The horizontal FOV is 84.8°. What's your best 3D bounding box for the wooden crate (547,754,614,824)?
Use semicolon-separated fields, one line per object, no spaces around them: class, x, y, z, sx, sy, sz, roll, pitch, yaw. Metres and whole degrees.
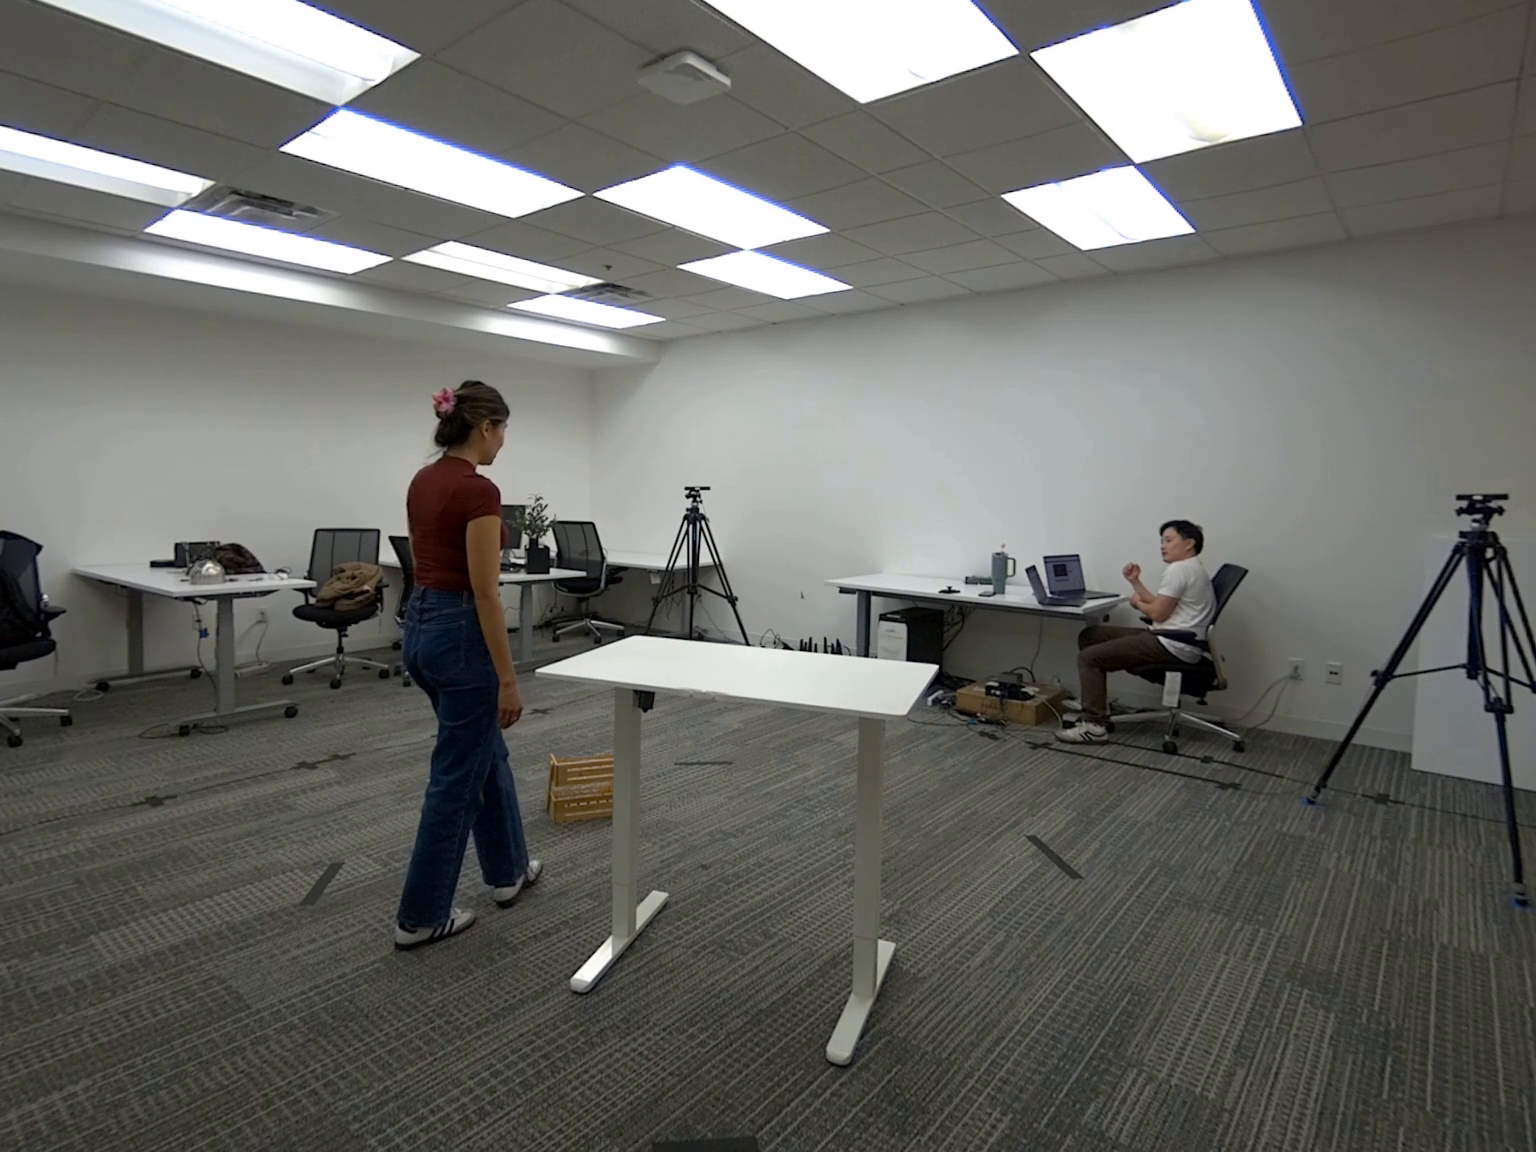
wooden crate;-0.808;0.872;3.651;0.317;0.273;0.309;-1;3;-22
